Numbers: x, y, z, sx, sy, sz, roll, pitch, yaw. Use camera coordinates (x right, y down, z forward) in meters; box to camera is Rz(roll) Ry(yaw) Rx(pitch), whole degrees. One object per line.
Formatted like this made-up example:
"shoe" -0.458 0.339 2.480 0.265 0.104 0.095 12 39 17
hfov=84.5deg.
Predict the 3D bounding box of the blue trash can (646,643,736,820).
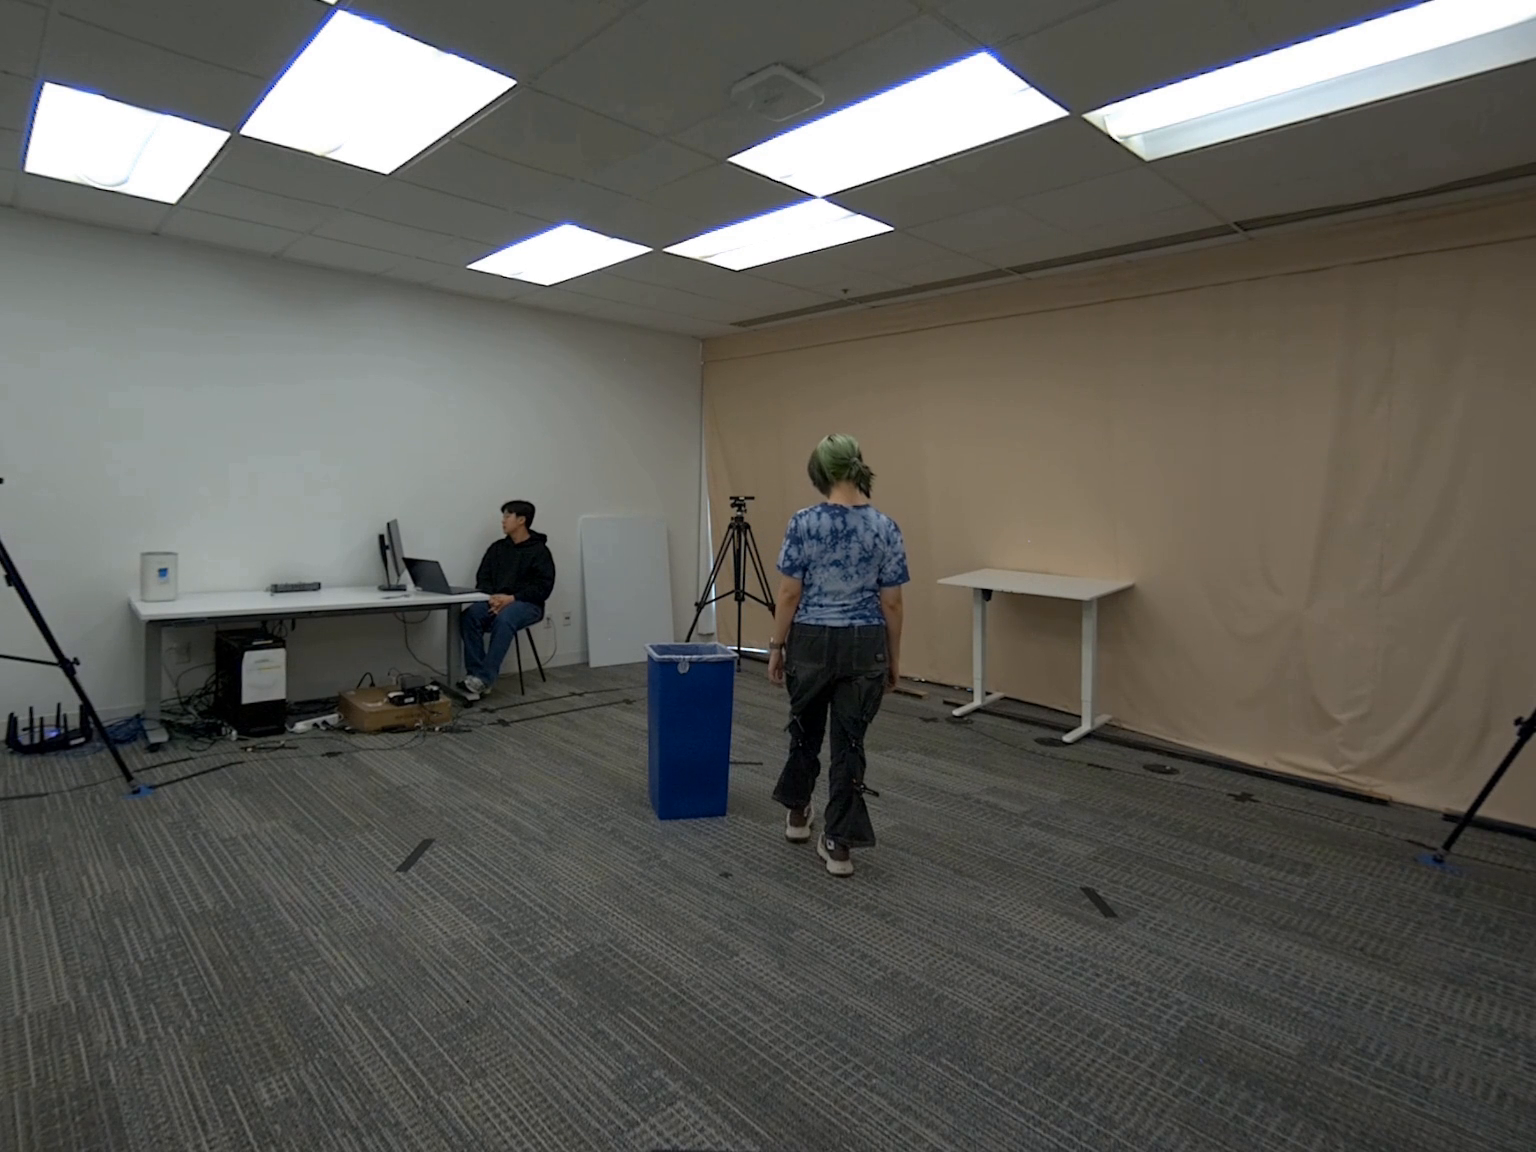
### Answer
"blue trash can" -0.370 0.683 3.789 0.373 0.712 0.379 1 3 -16
